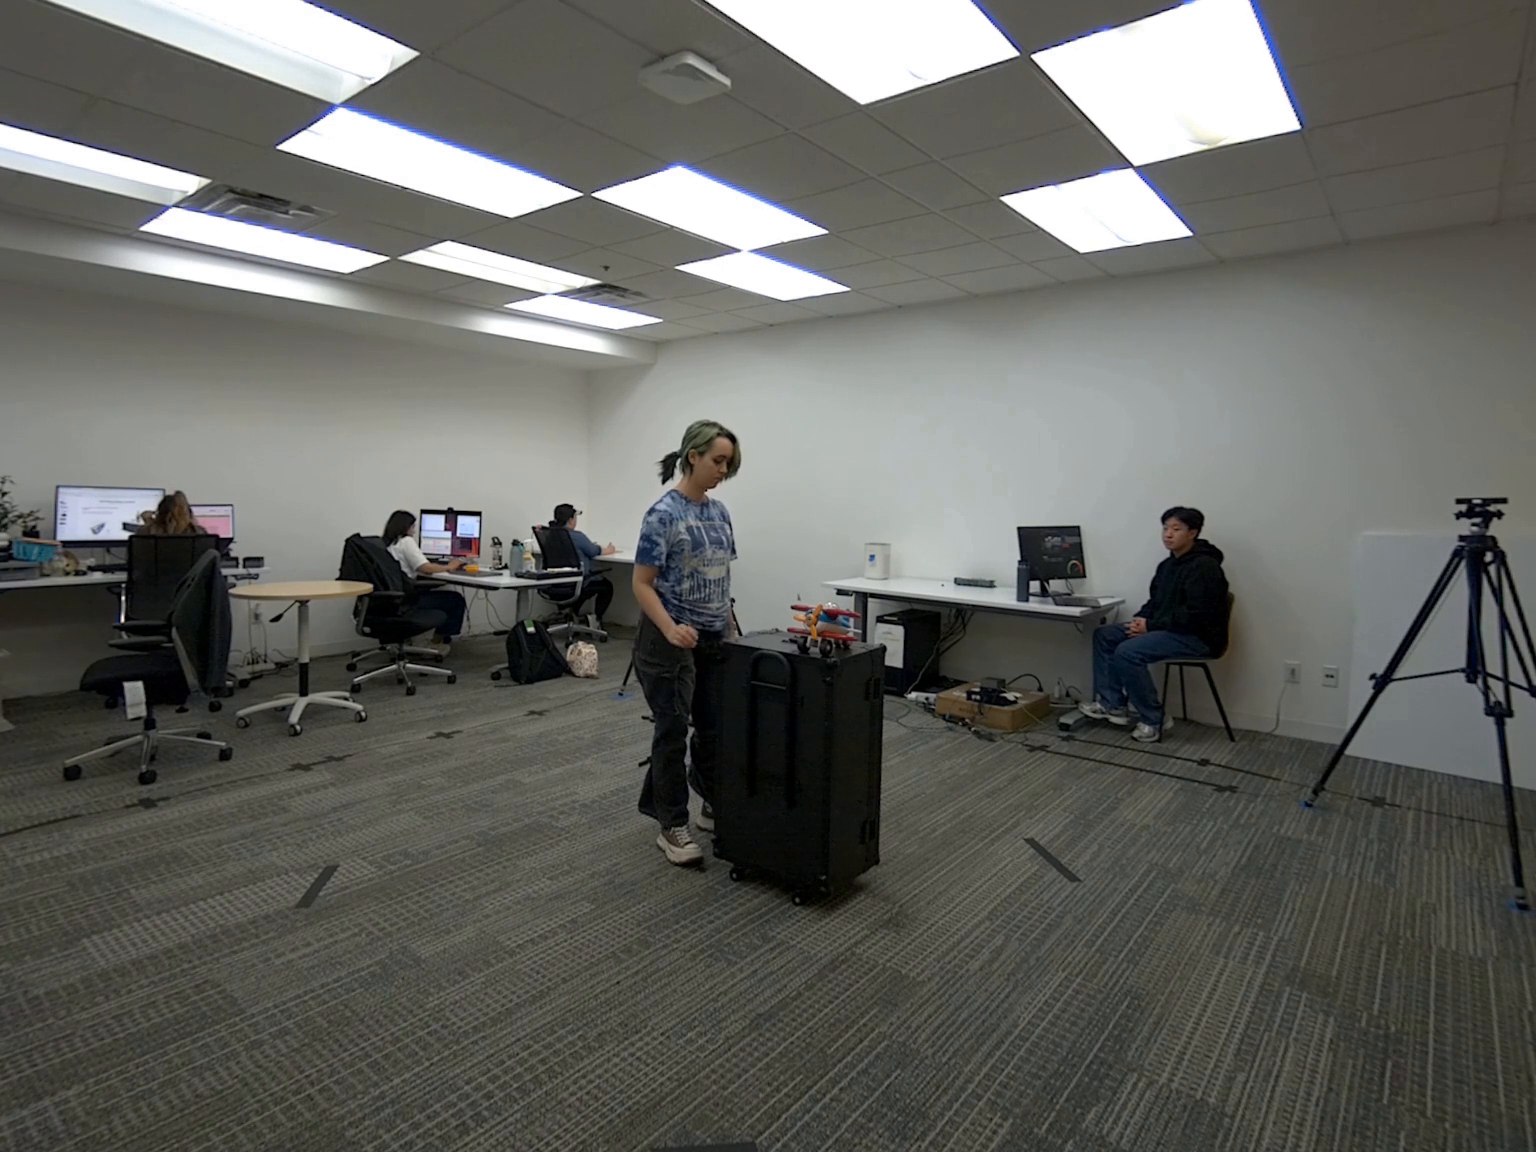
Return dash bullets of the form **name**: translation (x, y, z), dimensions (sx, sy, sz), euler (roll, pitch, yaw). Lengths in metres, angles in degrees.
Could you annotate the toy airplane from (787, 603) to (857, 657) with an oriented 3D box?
- **toy airplane**: translation (0.178, 0.171, 2.909), dimensions (0.254, 0.156, 0.257), euler (0, 6, 9)
